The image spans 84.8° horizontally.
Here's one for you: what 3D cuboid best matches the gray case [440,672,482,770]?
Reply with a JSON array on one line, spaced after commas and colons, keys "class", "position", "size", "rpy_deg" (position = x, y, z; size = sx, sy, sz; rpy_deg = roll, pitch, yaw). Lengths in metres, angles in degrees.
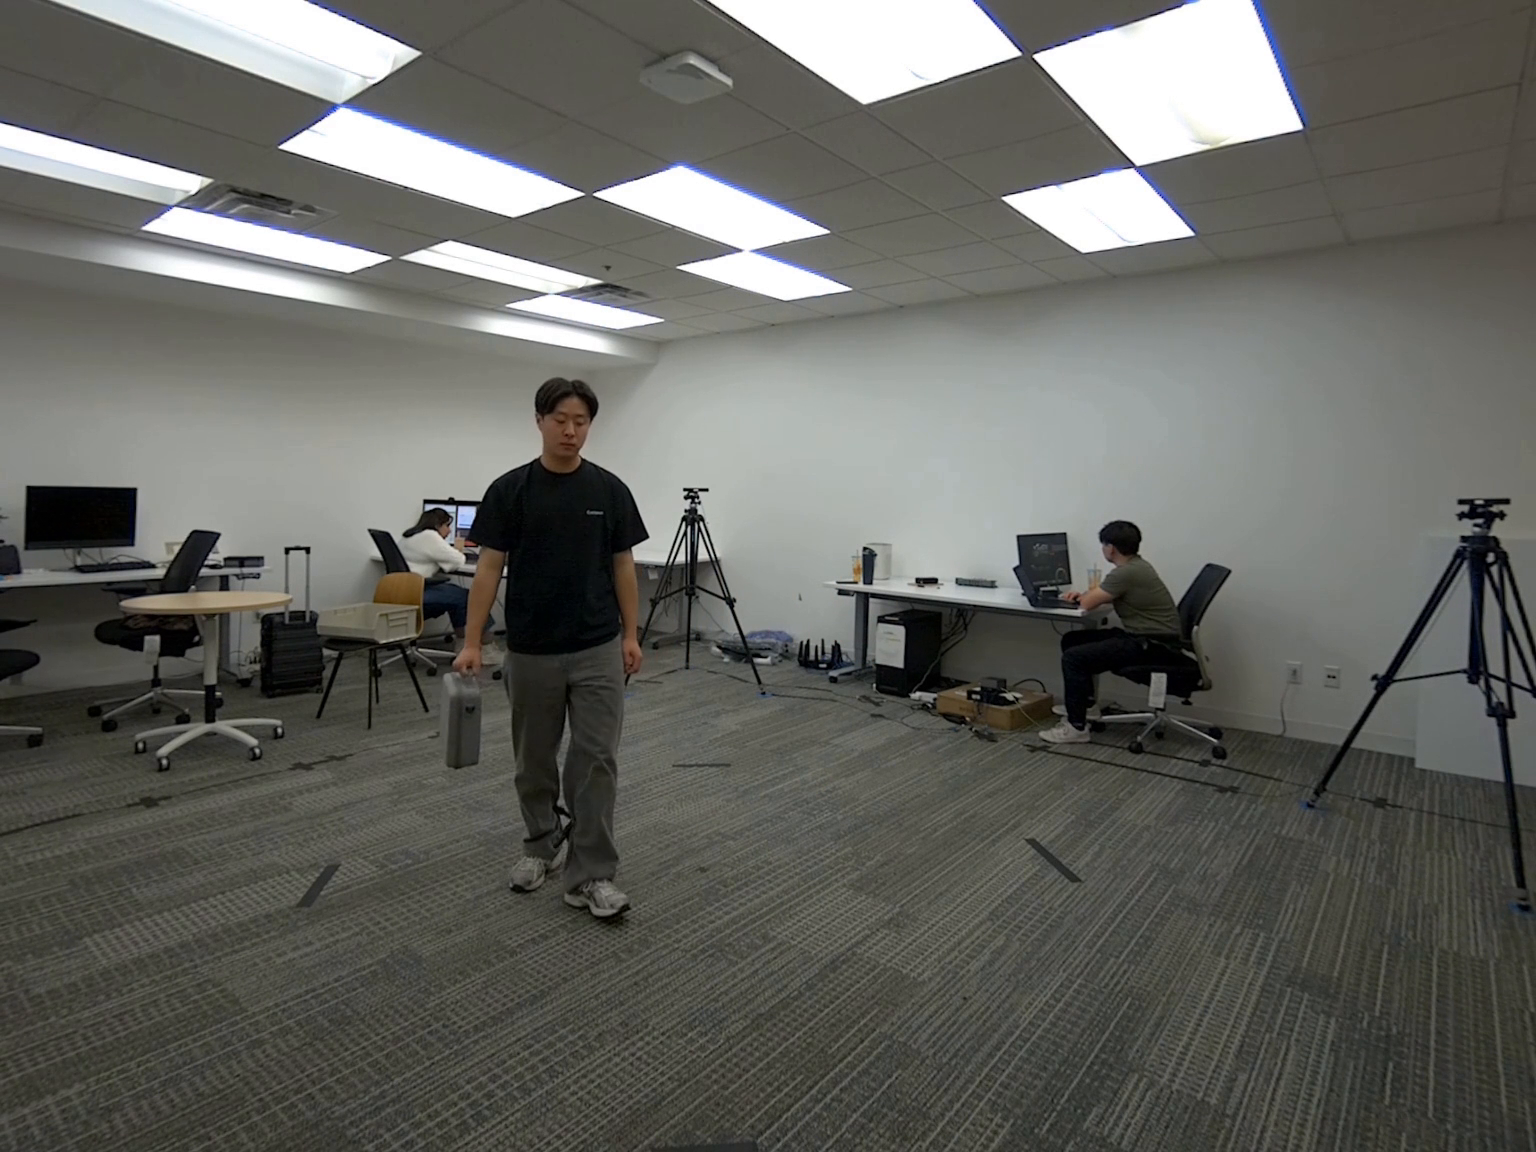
[{"class": "gray case", "position": [-0.994, 0.446, 2.773], "size": [0.100, 0.286, 0.271], "rpy_deg": [5, 6, -26]}]
